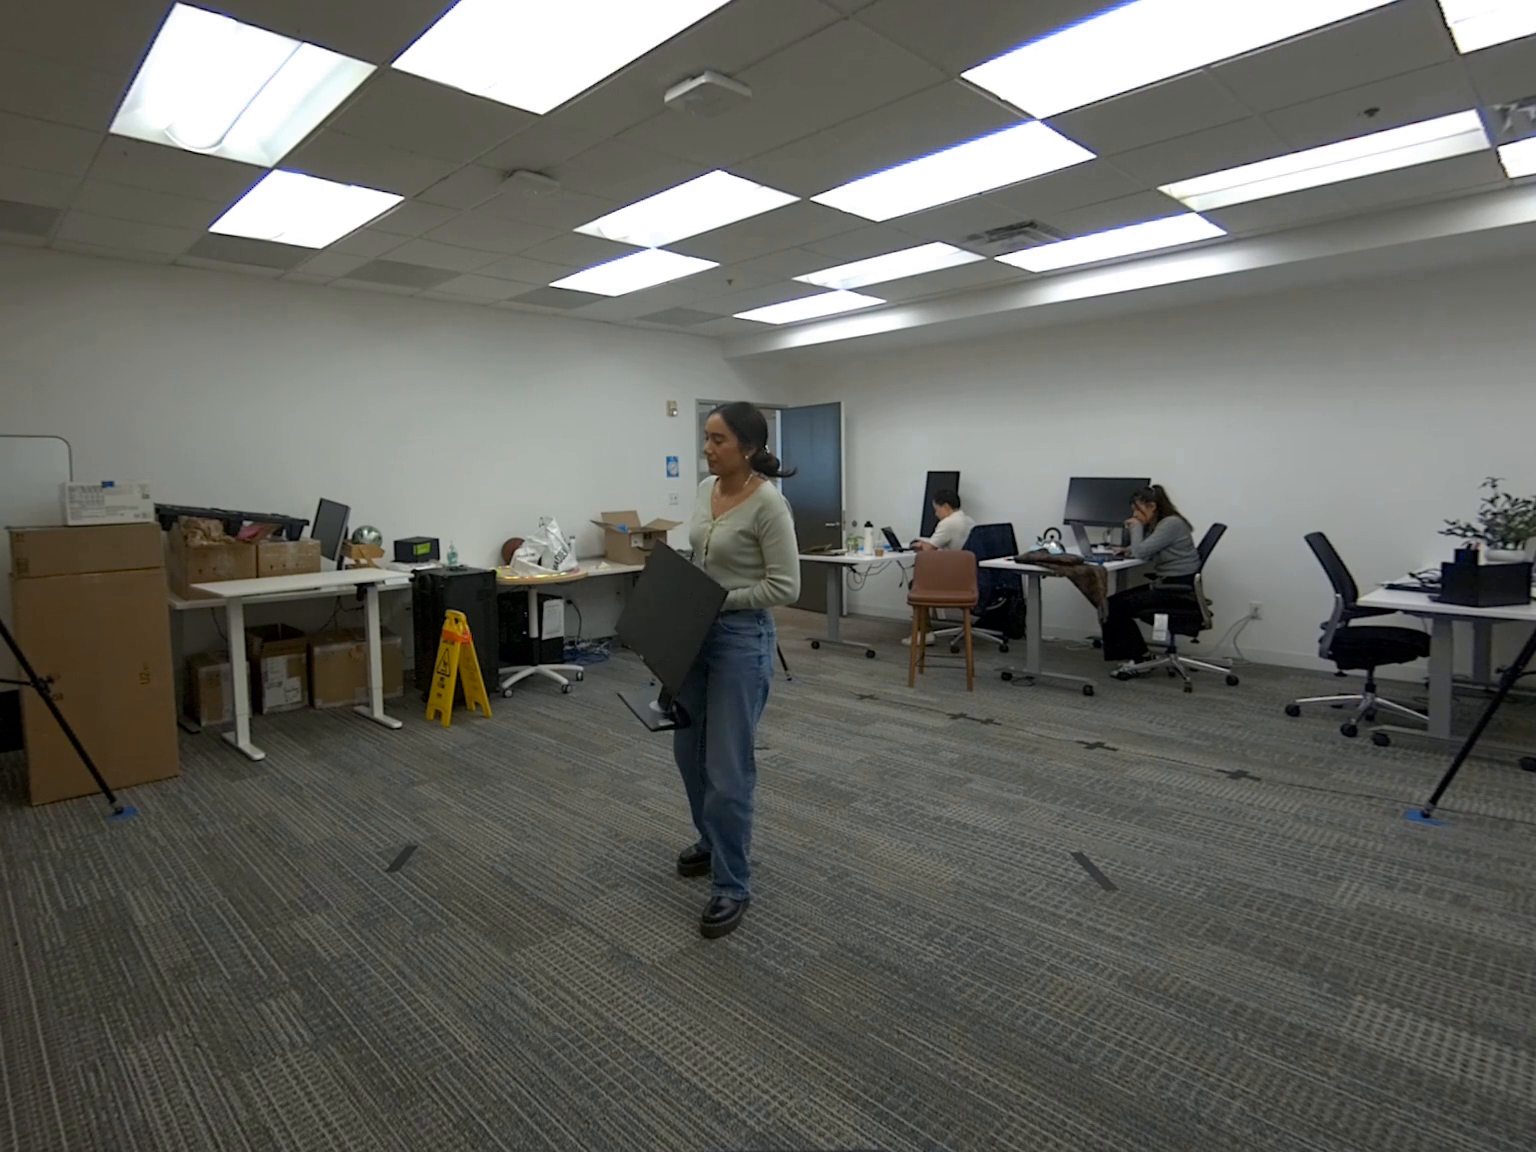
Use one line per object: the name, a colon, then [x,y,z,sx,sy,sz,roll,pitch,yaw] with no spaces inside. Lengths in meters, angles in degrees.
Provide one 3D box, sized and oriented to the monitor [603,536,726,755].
monitor: [-0.321,0.198,2.739,0.170,0.511,0.549,2,16,-31]
